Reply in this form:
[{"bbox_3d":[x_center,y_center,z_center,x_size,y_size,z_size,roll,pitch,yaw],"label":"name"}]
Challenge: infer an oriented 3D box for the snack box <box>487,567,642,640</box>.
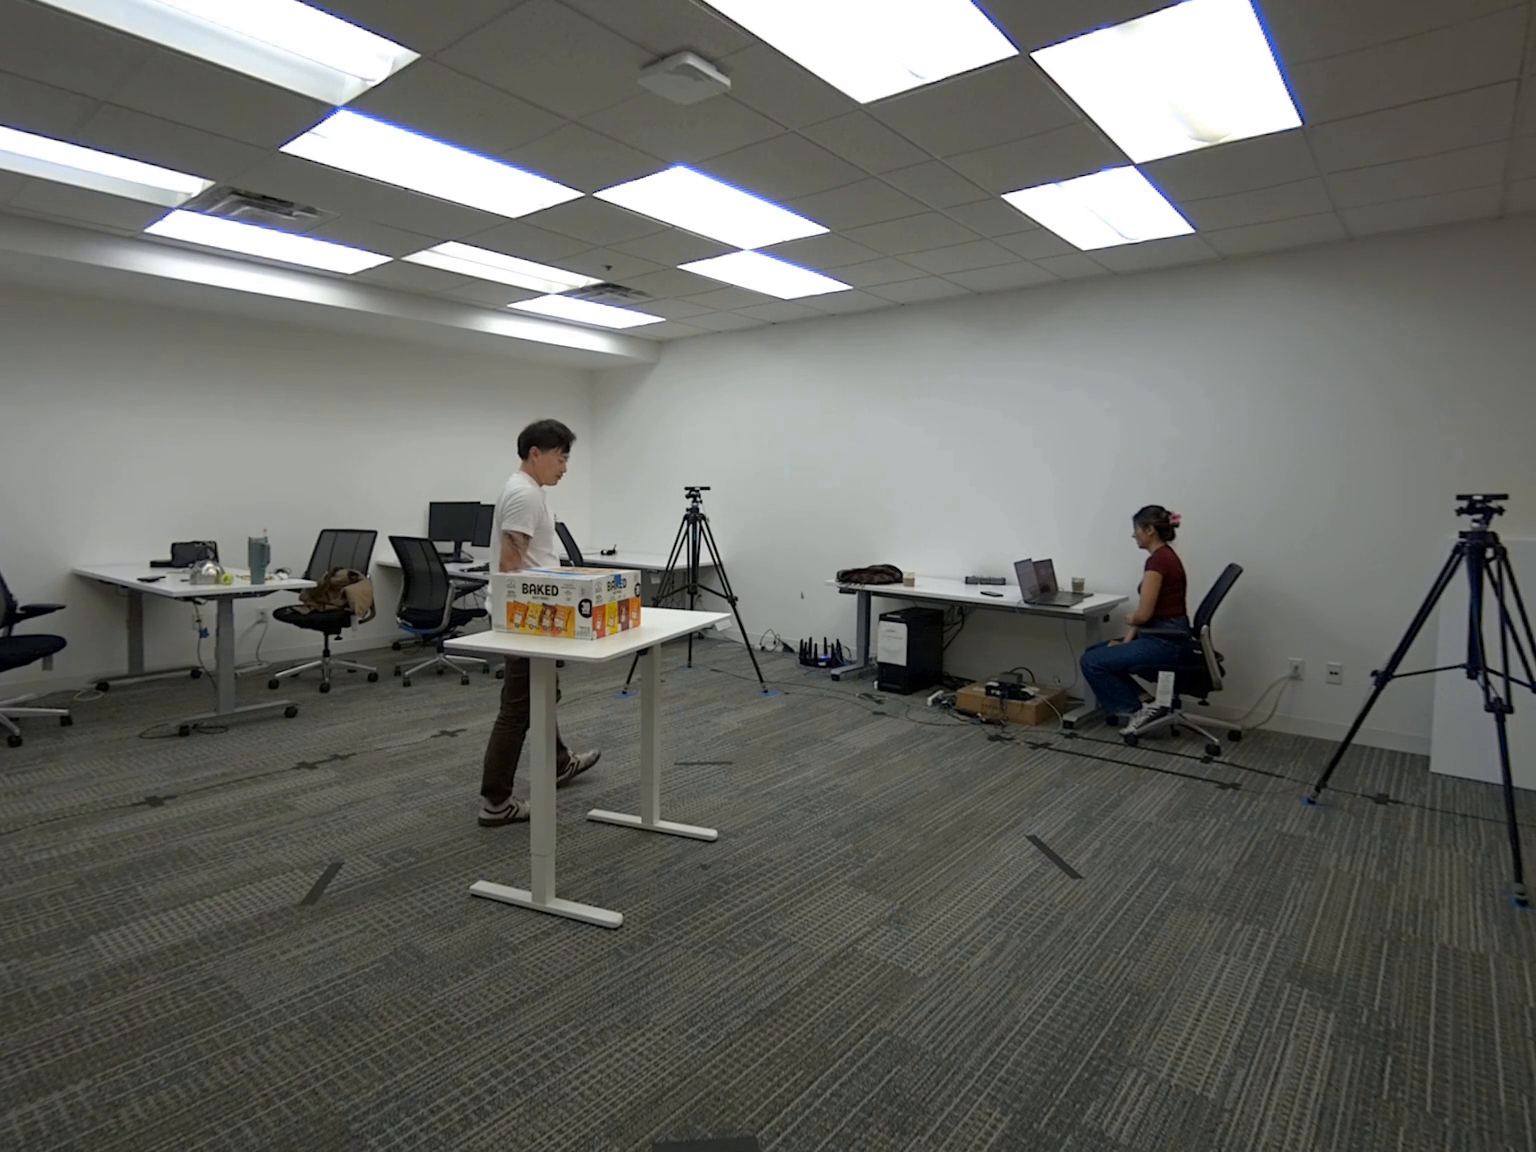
[{"bbox_3d":[-0.723,0.086,3.028,0.414,0.205,0.334,2,5,21],"label":"snack box"}]
